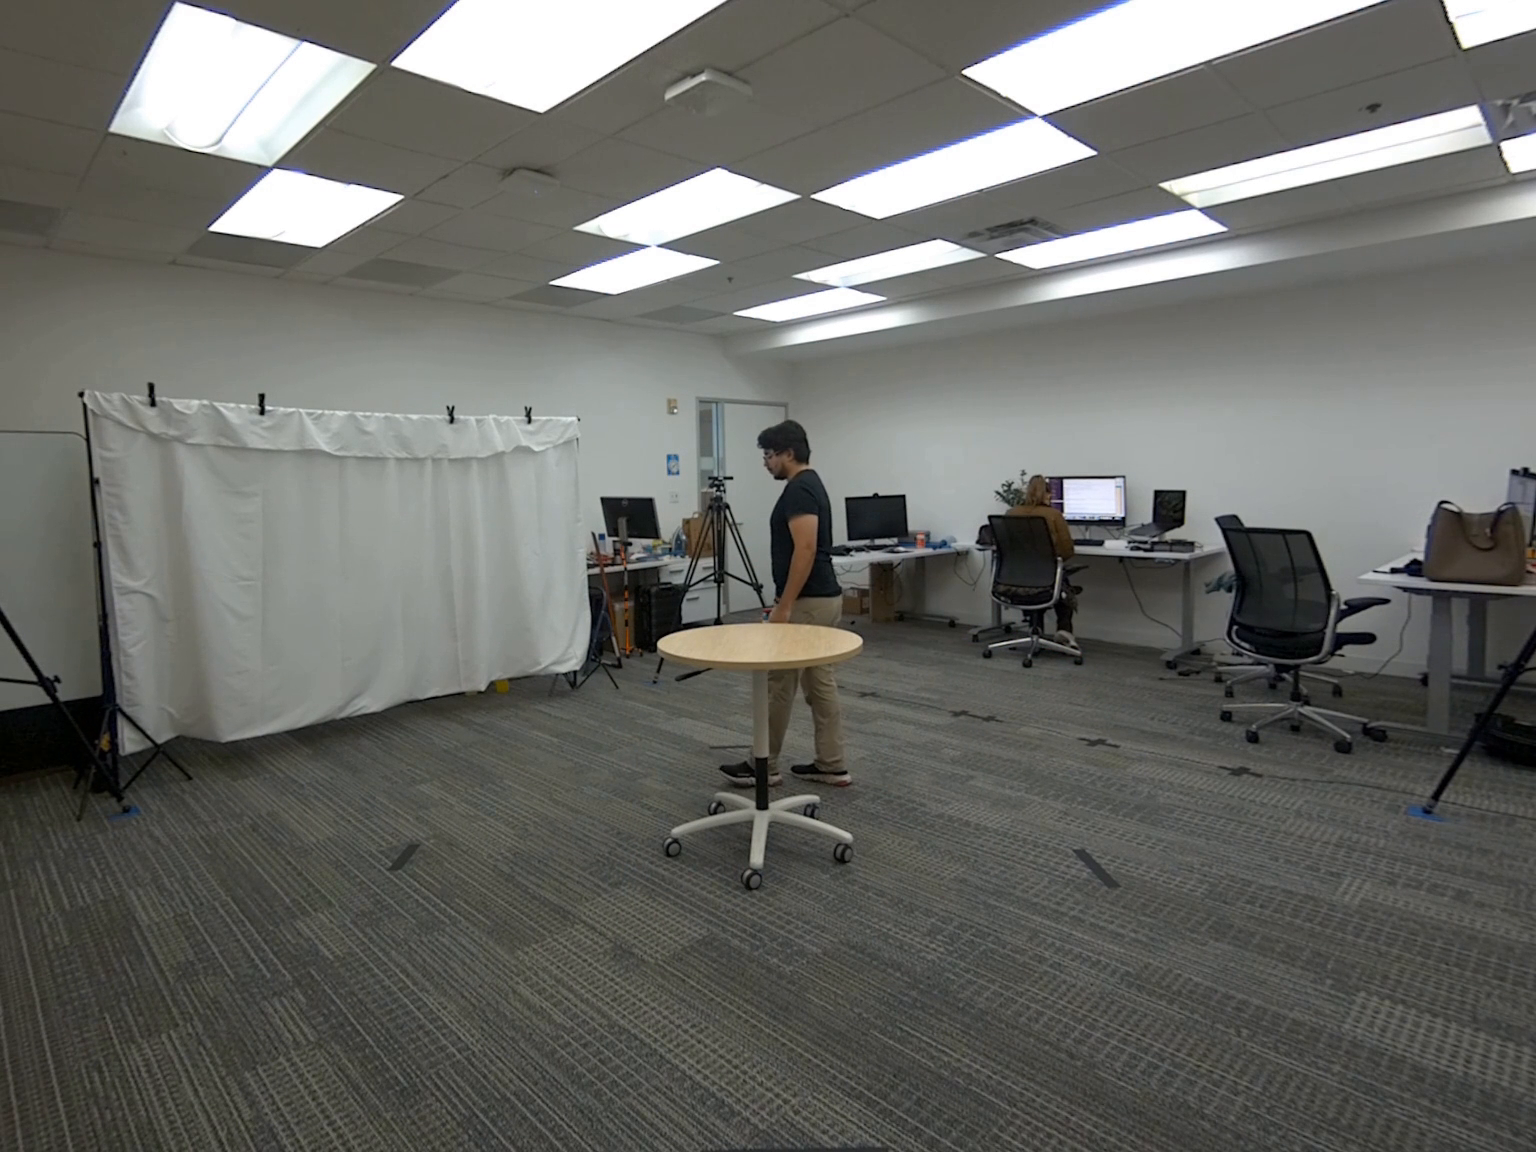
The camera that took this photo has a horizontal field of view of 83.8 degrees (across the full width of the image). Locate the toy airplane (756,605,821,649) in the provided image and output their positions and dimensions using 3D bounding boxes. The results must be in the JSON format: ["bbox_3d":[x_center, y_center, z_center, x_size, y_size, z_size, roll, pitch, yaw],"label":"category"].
[{"bbox_3d":[0.097,0.228,4.256,0.258,0.159,0.248,-16,-14,-7],"label":"toy airplane"}]
